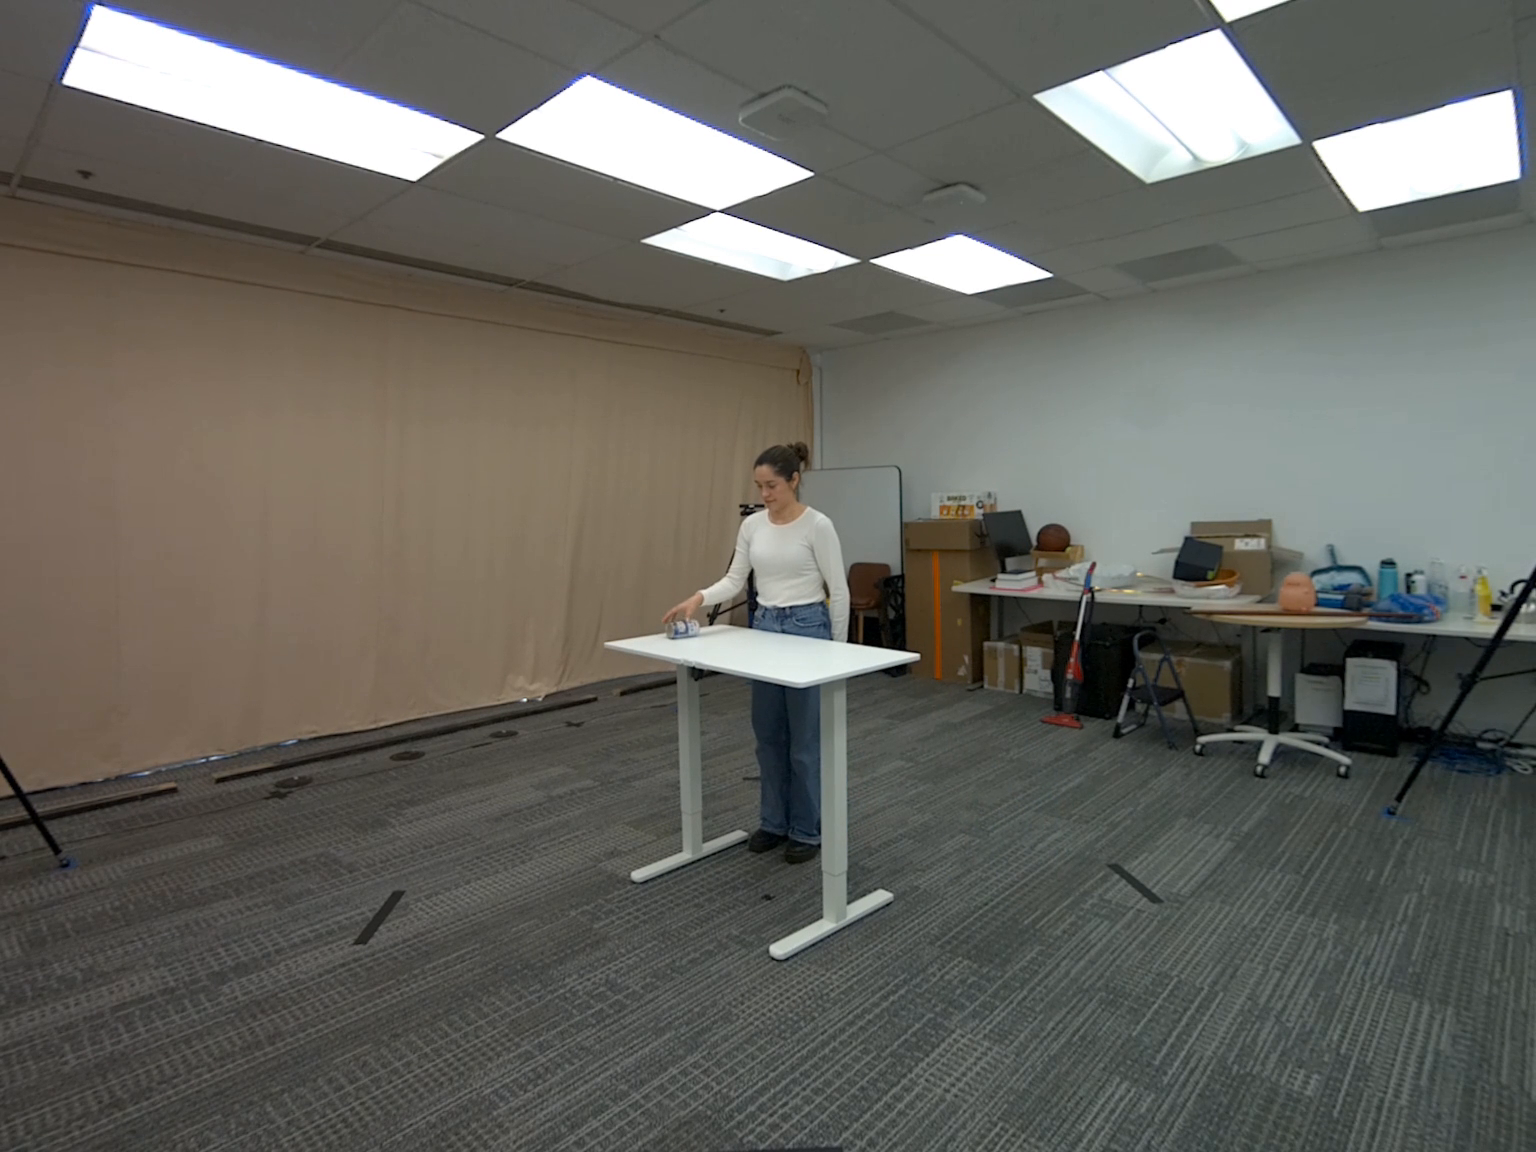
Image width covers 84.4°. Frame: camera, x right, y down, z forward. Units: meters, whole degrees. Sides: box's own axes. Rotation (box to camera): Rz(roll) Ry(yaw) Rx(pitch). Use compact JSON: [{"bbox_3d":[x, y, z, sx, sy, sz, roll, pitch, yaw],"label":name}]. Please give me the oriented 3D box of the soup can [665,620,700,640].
[{"bbox_3d":[-0.326,0.204,3.244,0.118,0.067,0.069,-4,5,-29],"label":"soup can"}]
